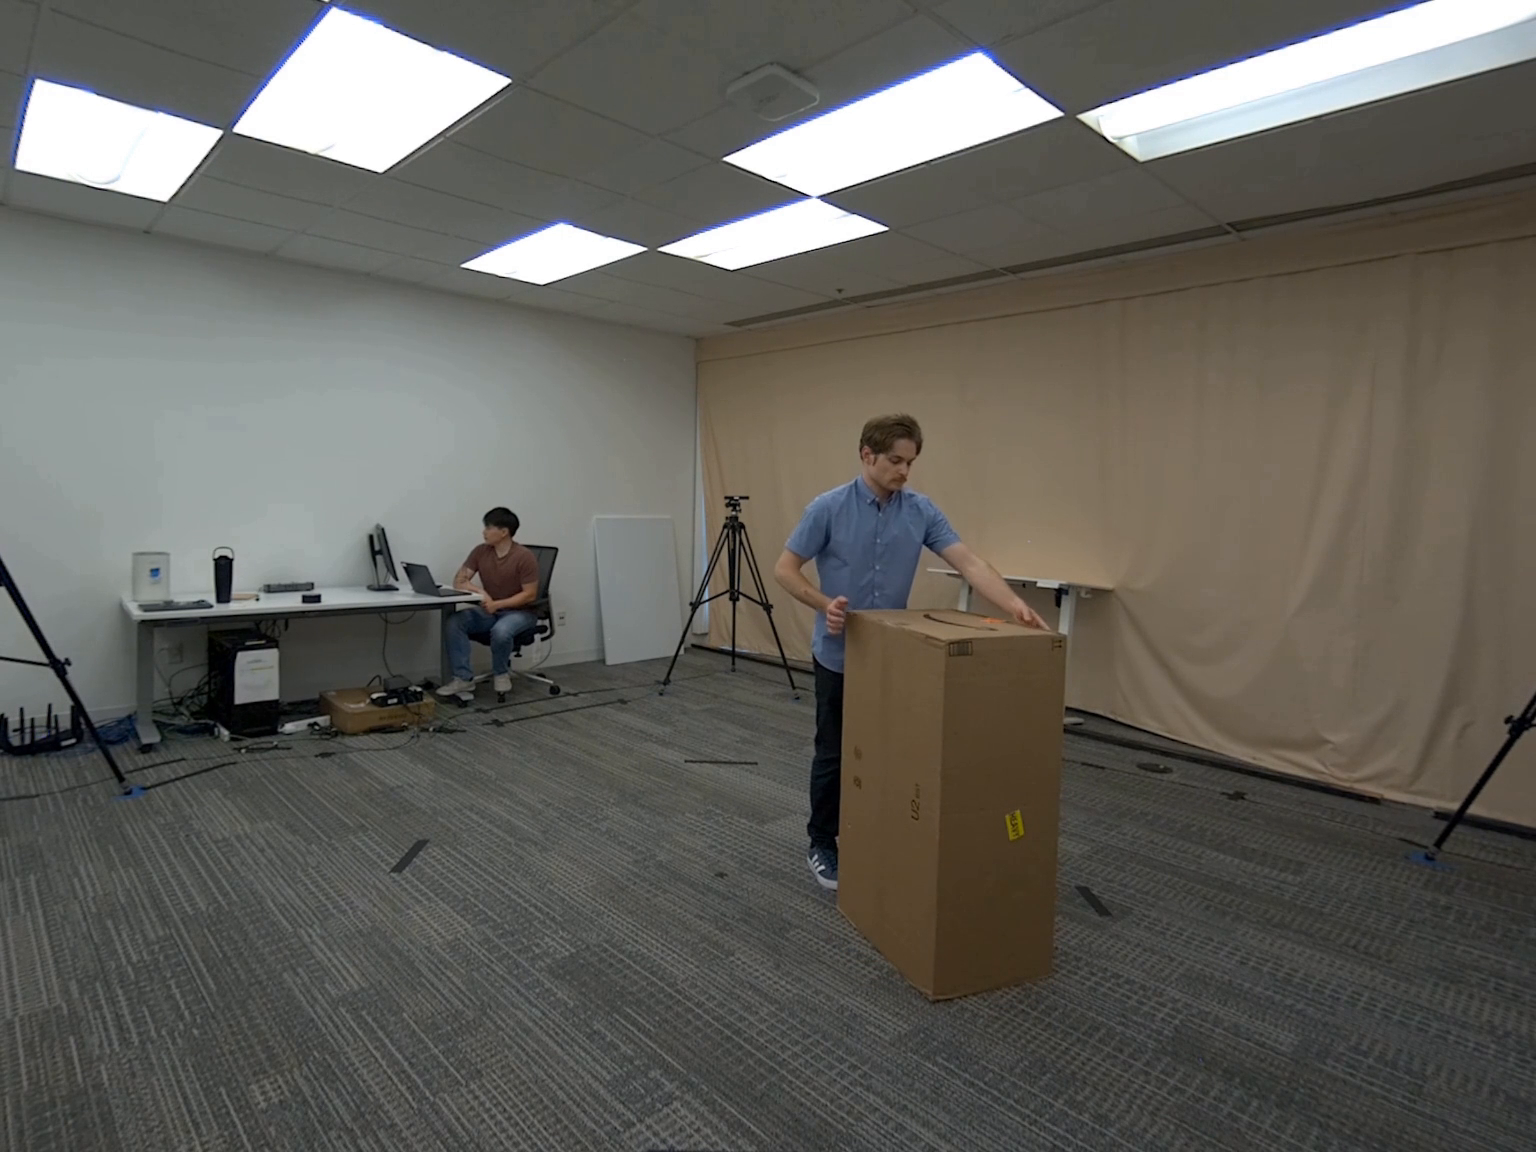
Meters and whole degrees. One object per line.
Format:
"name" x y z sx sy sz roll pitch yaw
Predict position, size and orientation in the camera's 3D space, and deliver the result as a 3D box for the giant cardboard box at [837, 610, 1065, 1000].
"giant cardboard box" 0.553 0.653 2.653 0.419 1.023 0.588 0 3 -22
